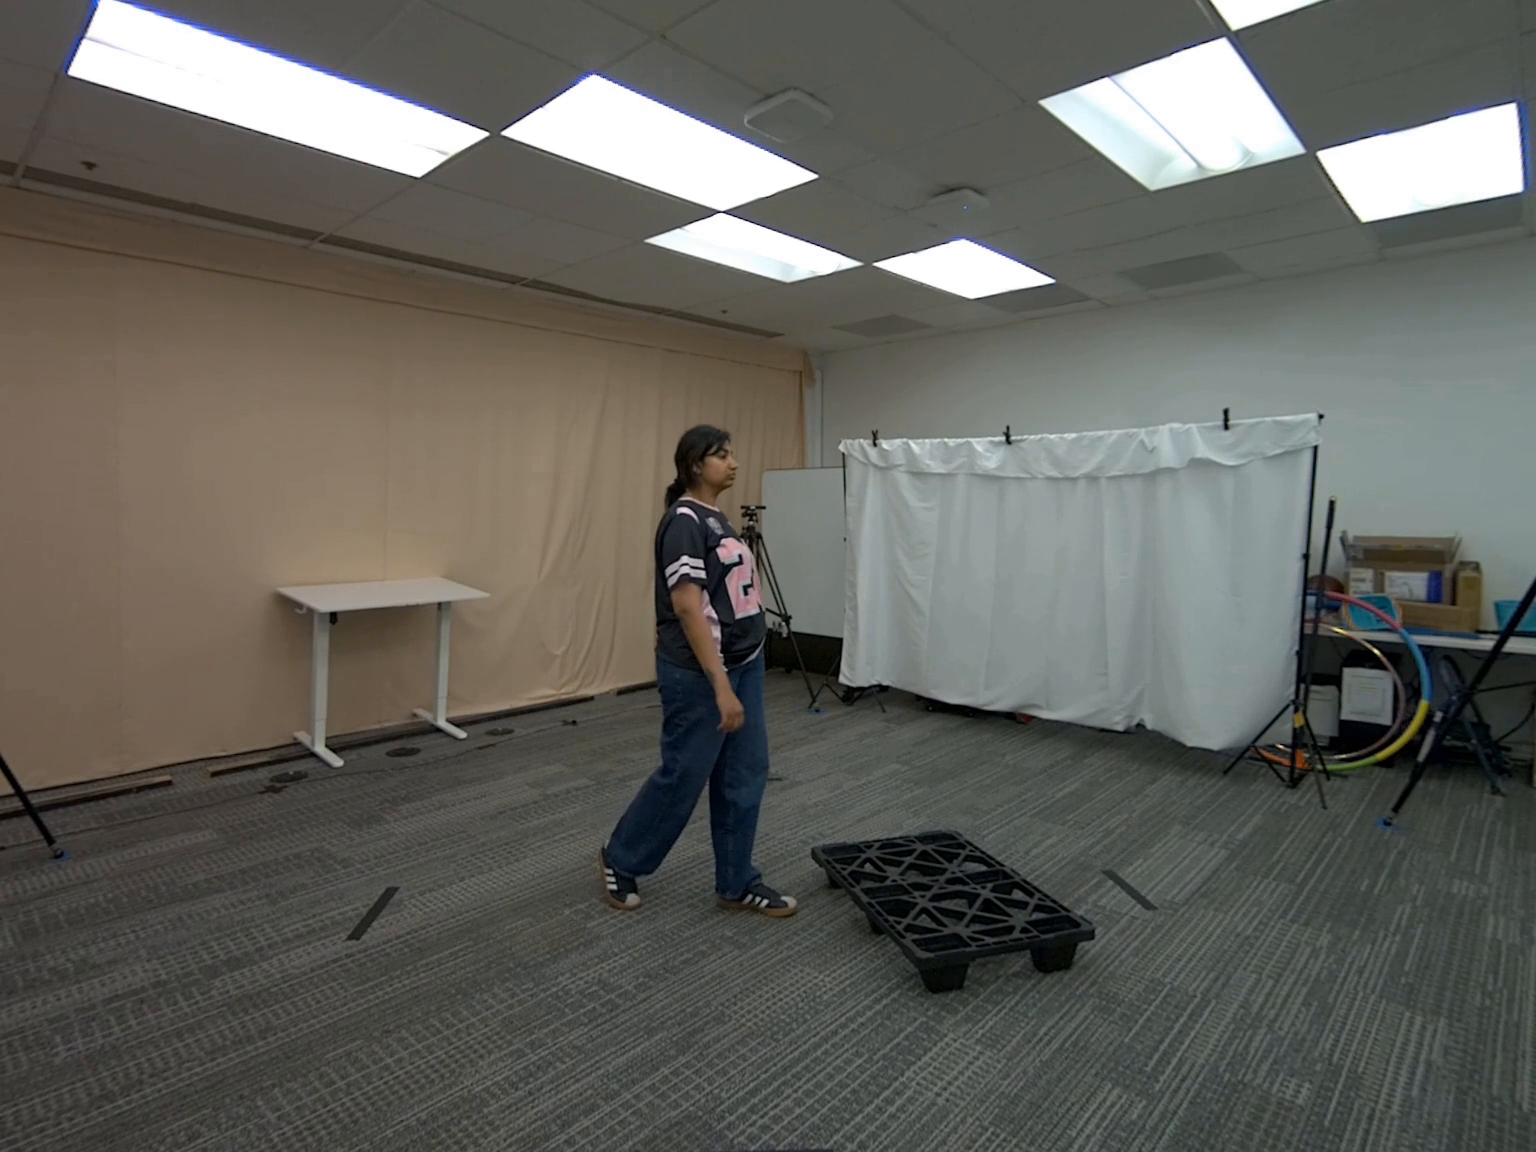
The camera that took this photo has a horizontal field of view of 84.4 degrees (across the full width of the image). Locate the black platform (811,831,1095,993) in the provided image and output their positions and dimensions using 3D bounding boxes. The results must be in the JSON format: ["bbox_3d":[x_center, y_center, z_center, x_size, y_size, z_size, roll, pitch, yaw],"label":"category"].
[{"bbox_3d":[0.565,1.084,2.806,0.595,0.143,0.821,-2,5,-17],"label":"black platform"}]
